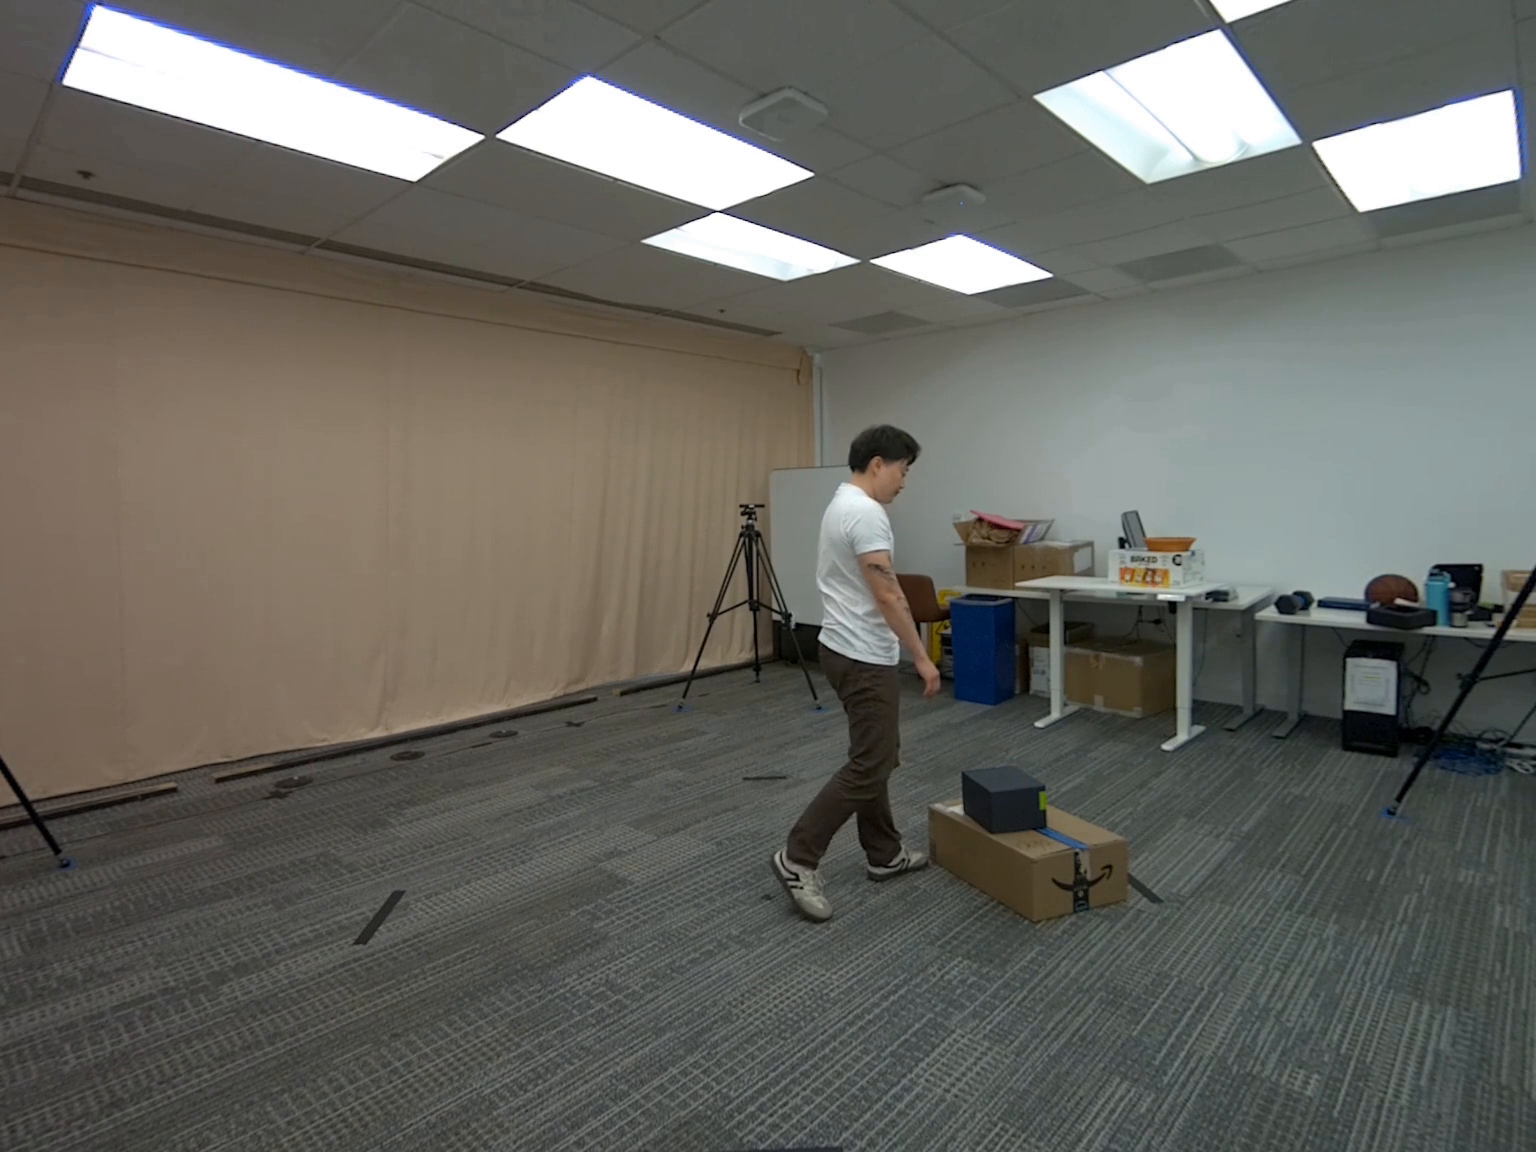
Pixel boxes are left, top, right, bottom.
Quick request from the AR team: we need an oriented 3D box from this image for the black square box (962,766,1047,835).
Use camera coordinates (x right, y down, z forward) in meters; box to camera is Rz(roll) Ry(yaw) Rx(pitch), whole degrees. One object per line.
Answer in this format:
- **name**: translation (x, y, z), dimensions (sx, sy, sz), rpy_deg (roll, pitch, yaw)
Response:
- **black square box**: translation (0.858, 0.808, 3.080), dimensions (0.214, 0.155, 0.231), rpy_deg (-3, 6, -12)
